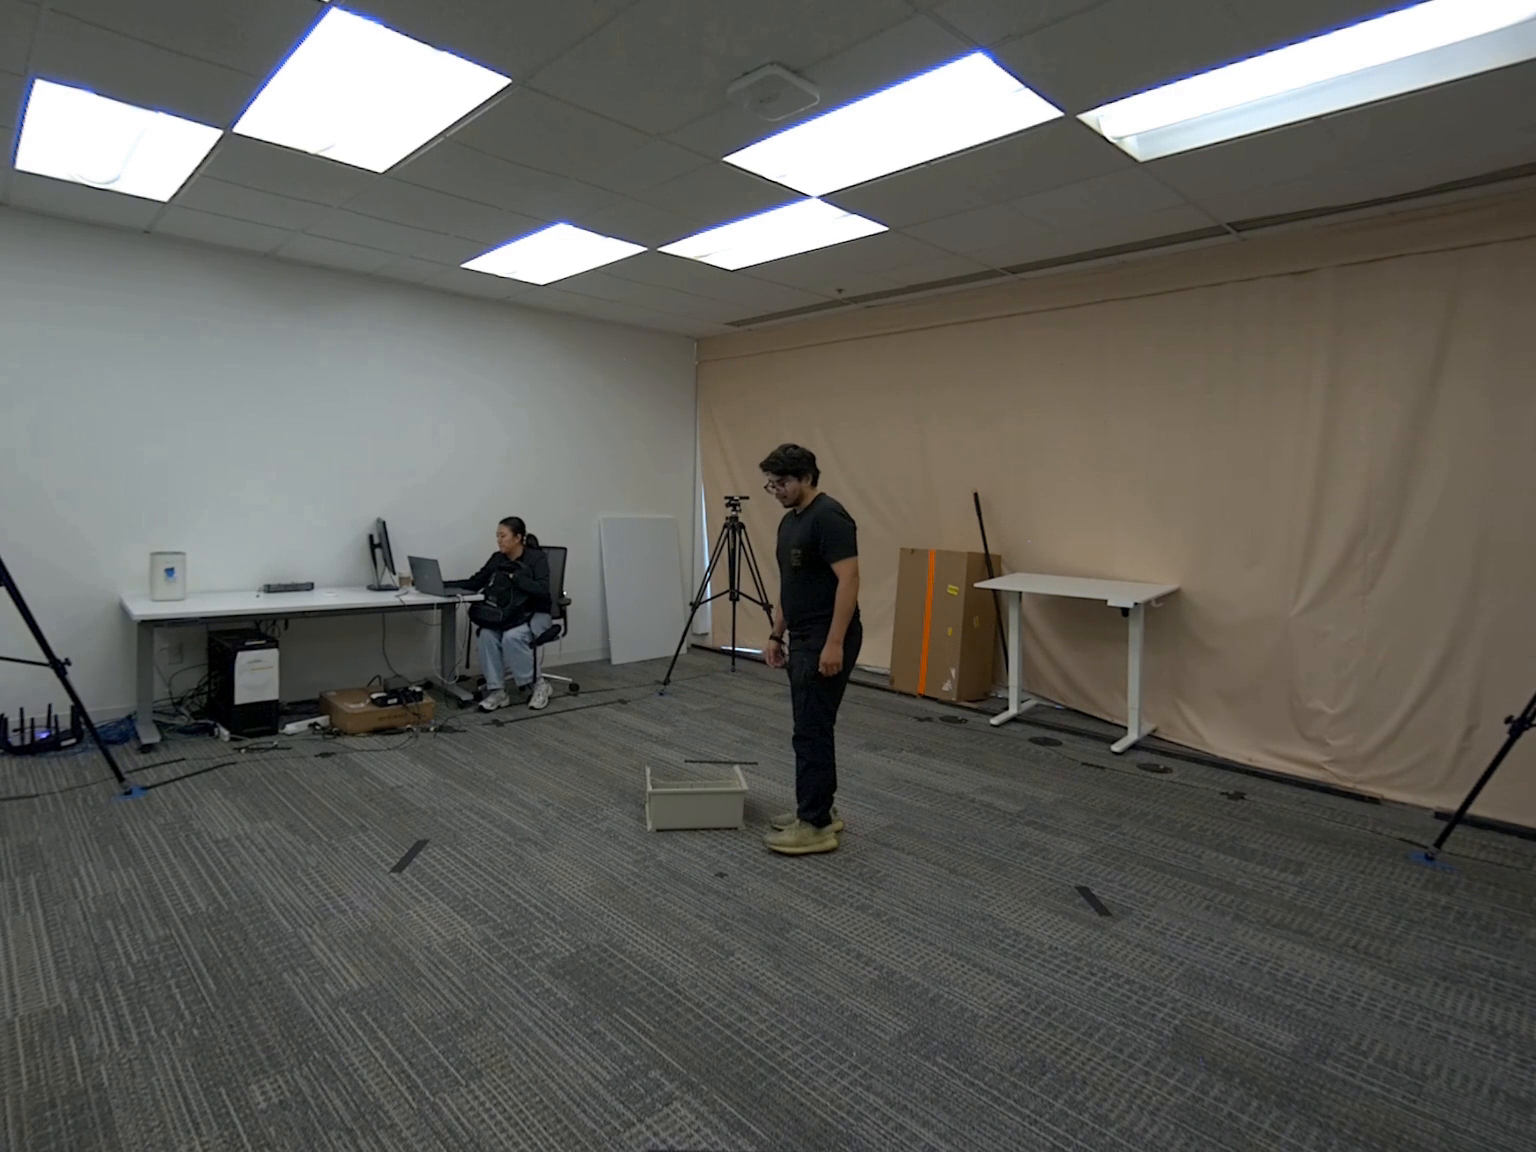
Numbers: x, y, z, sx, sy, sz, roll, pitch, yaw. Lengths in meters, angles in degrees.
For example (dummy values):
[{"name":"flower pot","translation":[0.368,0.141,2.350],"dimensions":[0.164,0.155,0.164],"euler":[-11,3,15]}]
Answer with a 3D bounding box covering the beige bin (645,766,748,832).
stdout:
[{"name":"beige bin","translation":[-0.328,0.956,3.688],"dimensions":[0.419,0.188,0.381],"euler":[1,5,-9]}]
